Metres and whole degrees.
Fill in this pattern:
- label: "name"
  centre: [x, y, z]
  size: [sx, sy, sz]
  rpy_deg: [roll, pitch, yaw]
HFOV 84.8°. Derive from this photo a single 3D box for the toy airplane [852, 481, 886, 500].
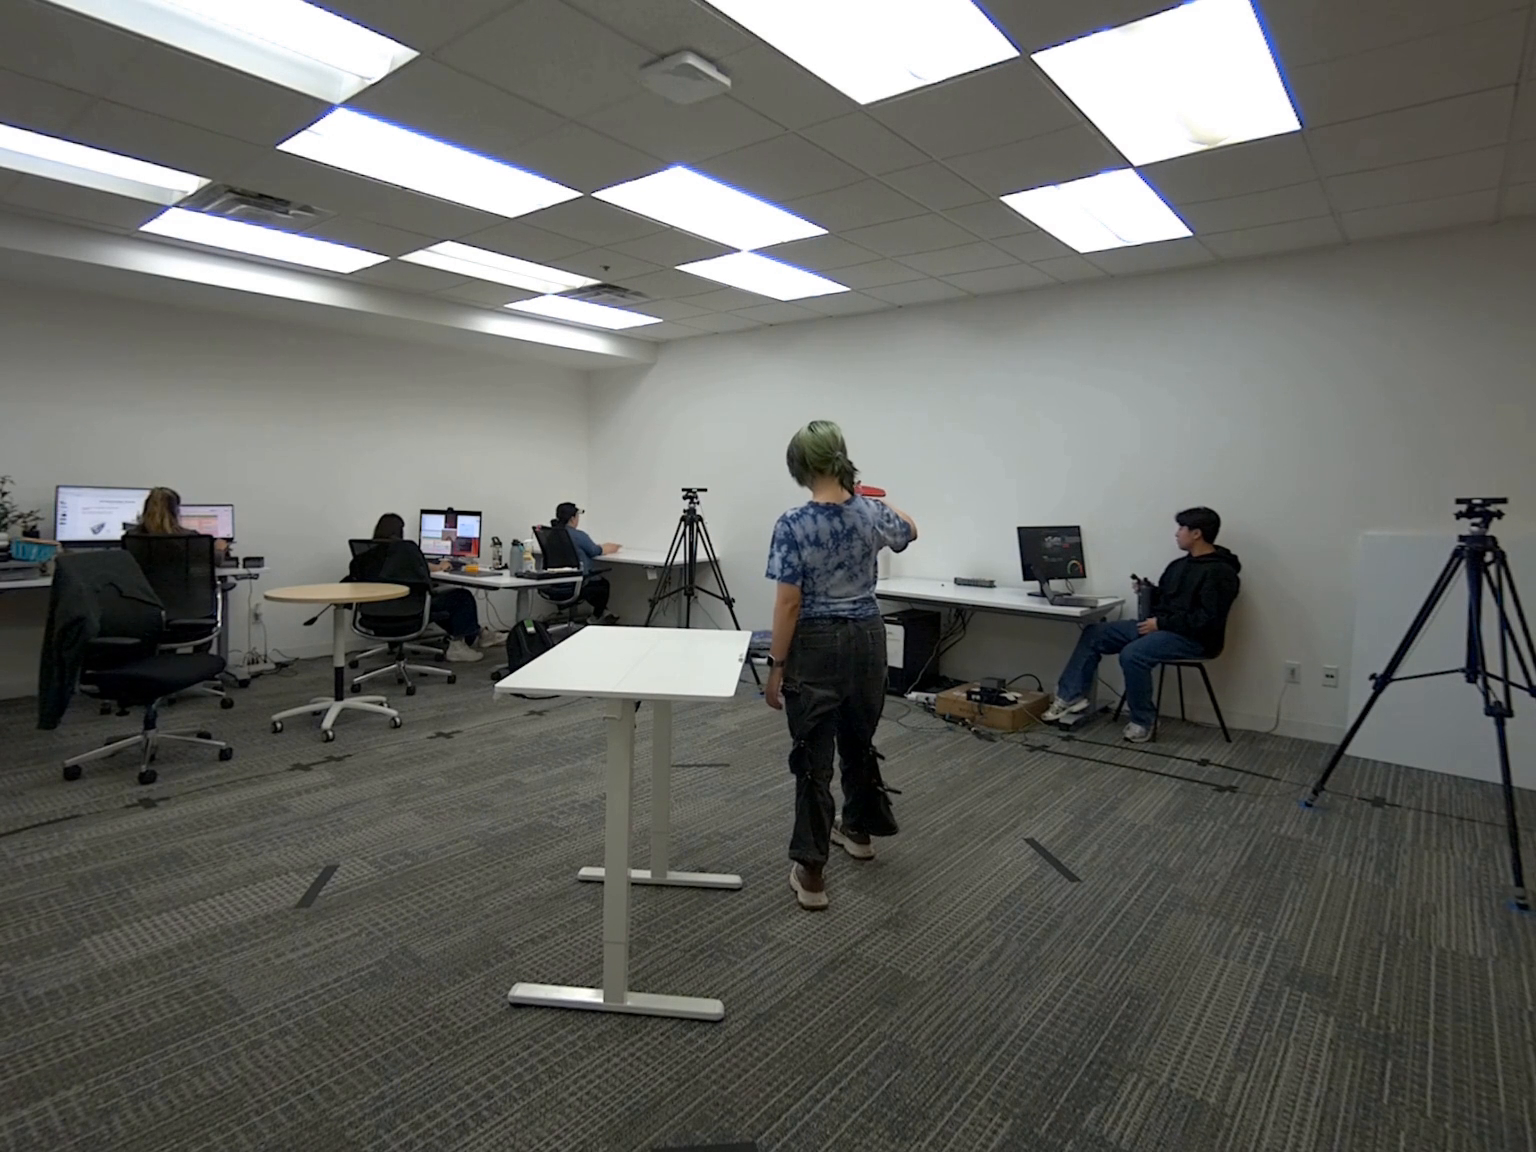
- label: "toy airplane"
  centre: [0.378, -0.299, 3.540]
  size: [0.244, 0.155, 0.268]
  rpy_deg: [1, 11, -29]
